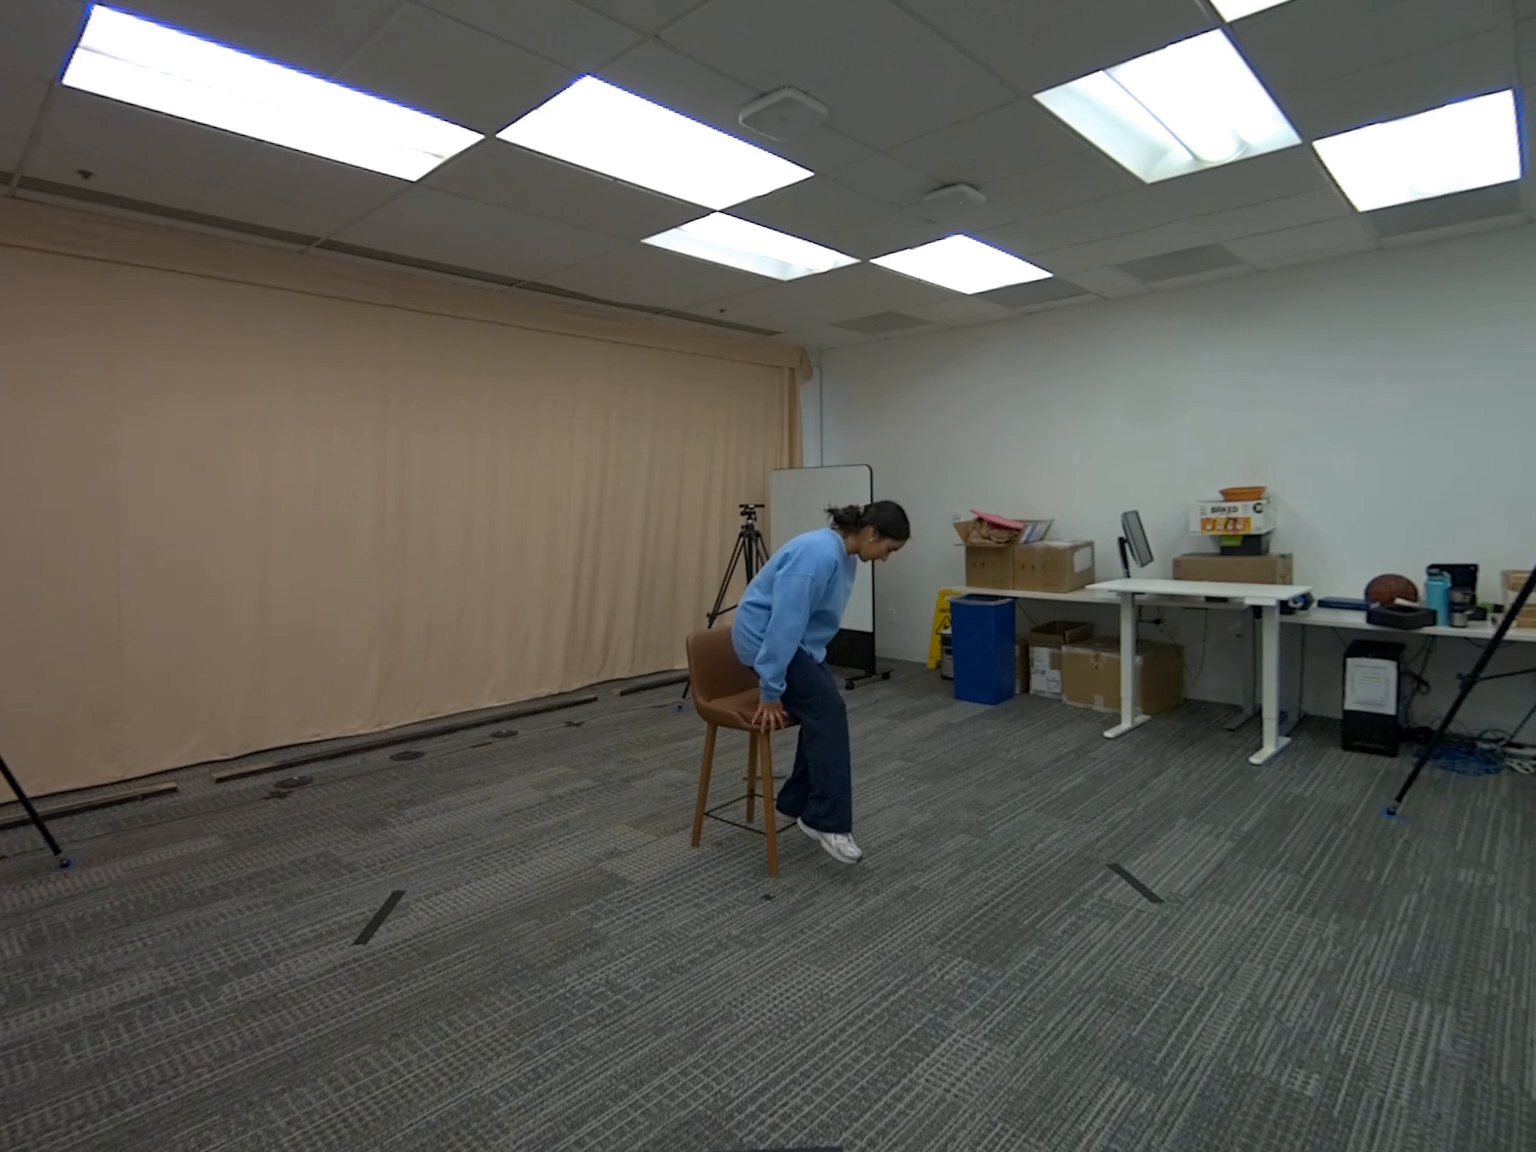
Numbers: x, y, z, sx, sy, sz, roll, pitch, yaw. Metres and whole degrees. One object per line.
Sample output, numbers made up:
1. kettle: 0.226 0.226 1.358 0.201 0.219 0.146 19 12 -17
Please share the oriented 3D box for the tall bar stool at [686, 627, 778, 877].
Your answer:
1. tall bar stool: -0.036 0.666 3.419 0.482 0.888 0.443 -1 3 41
